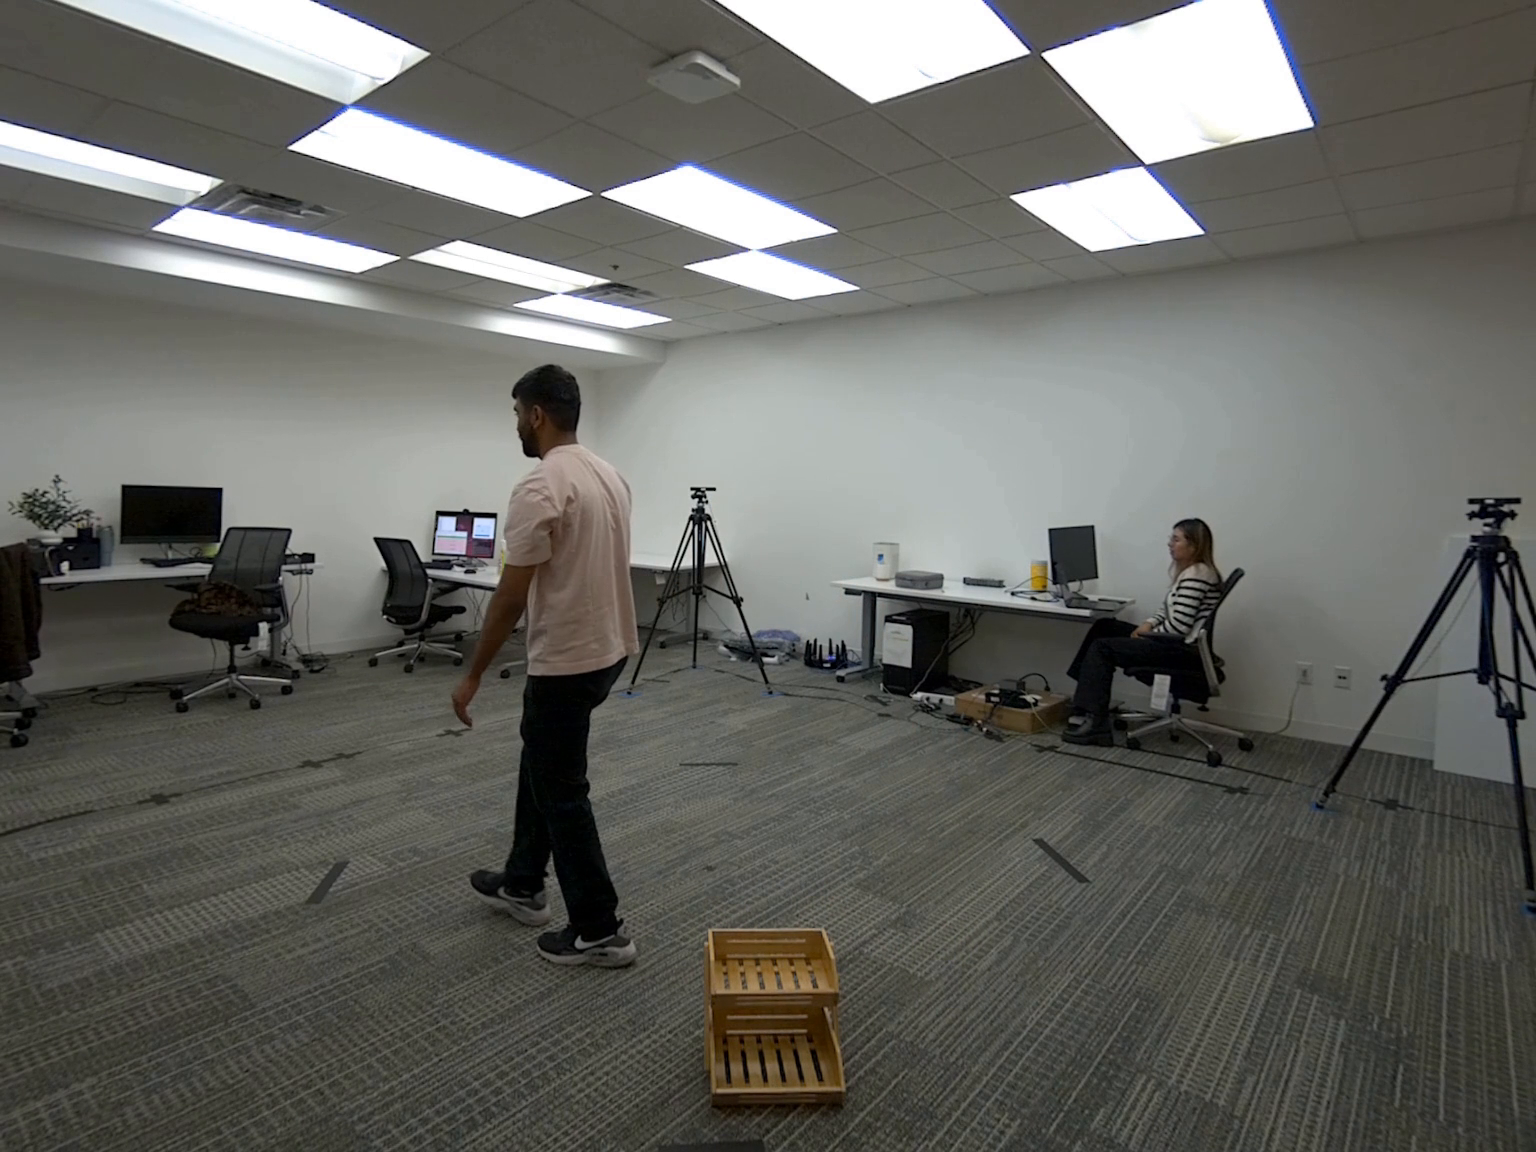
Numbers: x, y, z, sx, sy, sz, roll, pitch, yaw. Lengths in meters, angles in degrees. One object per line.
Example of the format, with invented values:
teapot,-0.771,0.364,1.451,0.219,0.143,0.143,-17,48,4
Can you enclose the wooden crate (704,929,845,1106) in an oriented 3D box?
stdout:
wooden crate,0.007,1.049,2.036,0.323,0.272,0.305,1,5,-5
